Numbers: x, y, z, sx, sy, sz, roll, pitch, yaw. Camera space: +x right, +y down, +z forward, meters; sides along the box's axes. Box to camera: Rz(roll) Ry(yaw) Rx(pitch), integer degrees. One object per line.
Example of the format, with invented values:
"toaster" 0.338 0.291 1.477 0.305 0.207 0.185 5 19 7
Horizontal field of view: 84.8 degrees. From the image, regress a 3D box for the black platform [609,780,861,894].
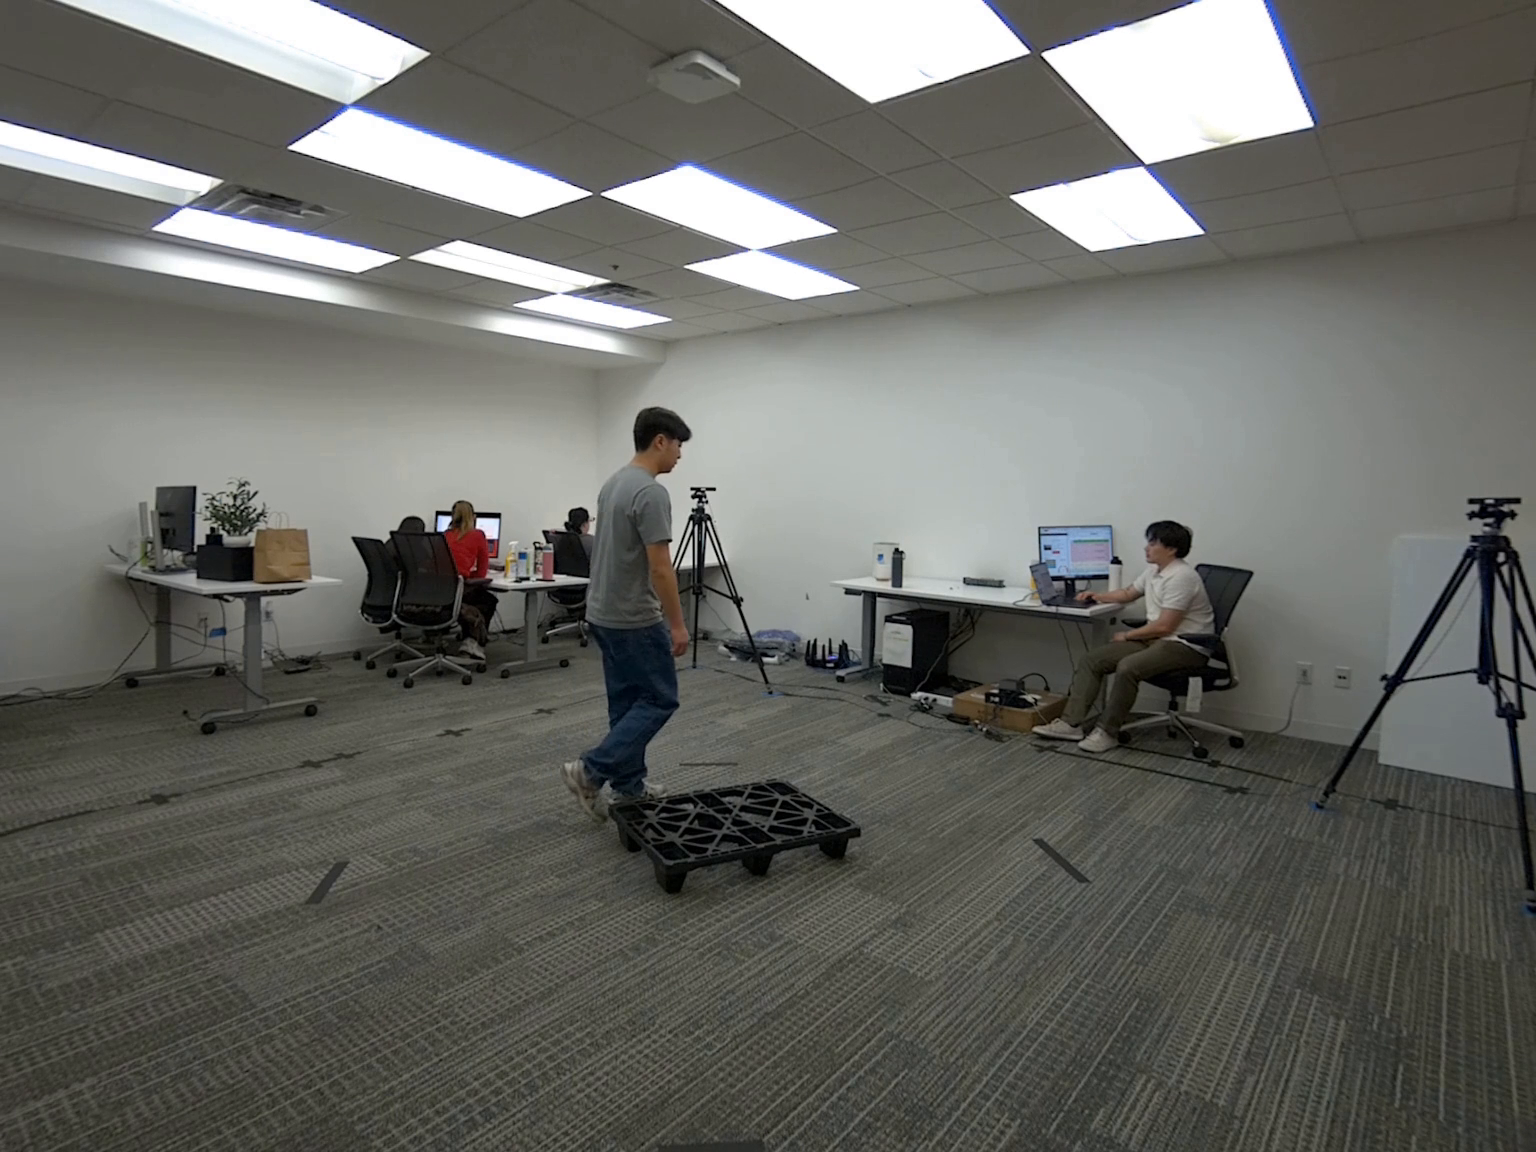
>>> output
"black platform" -0.144 0.983 3.266 0.785 0.142 0.623 -2 7 -28
